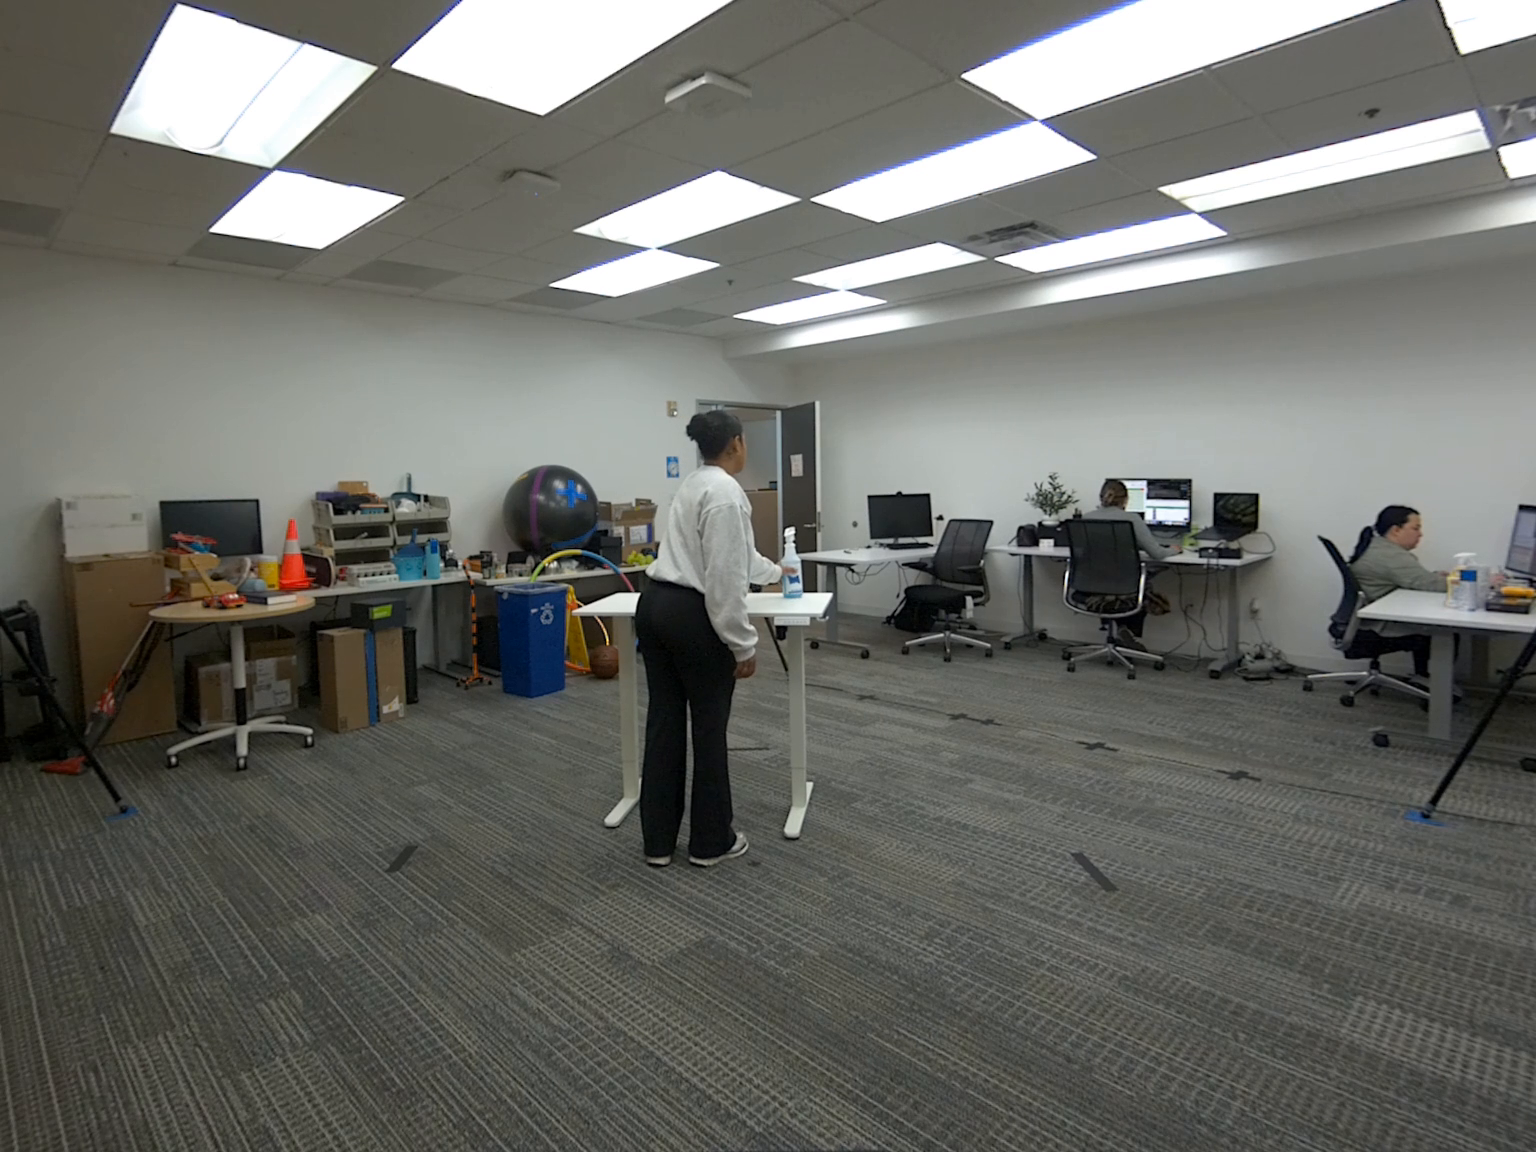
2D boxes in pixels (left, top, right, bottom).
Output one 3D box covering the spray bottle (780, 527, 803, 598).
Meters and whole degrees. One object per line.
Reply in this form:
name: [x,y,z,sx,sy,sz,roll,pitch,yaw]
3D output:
spray bottle: [0.096,-0.058,3.689,0.088,0.296,0.089,-6,4,-37]
